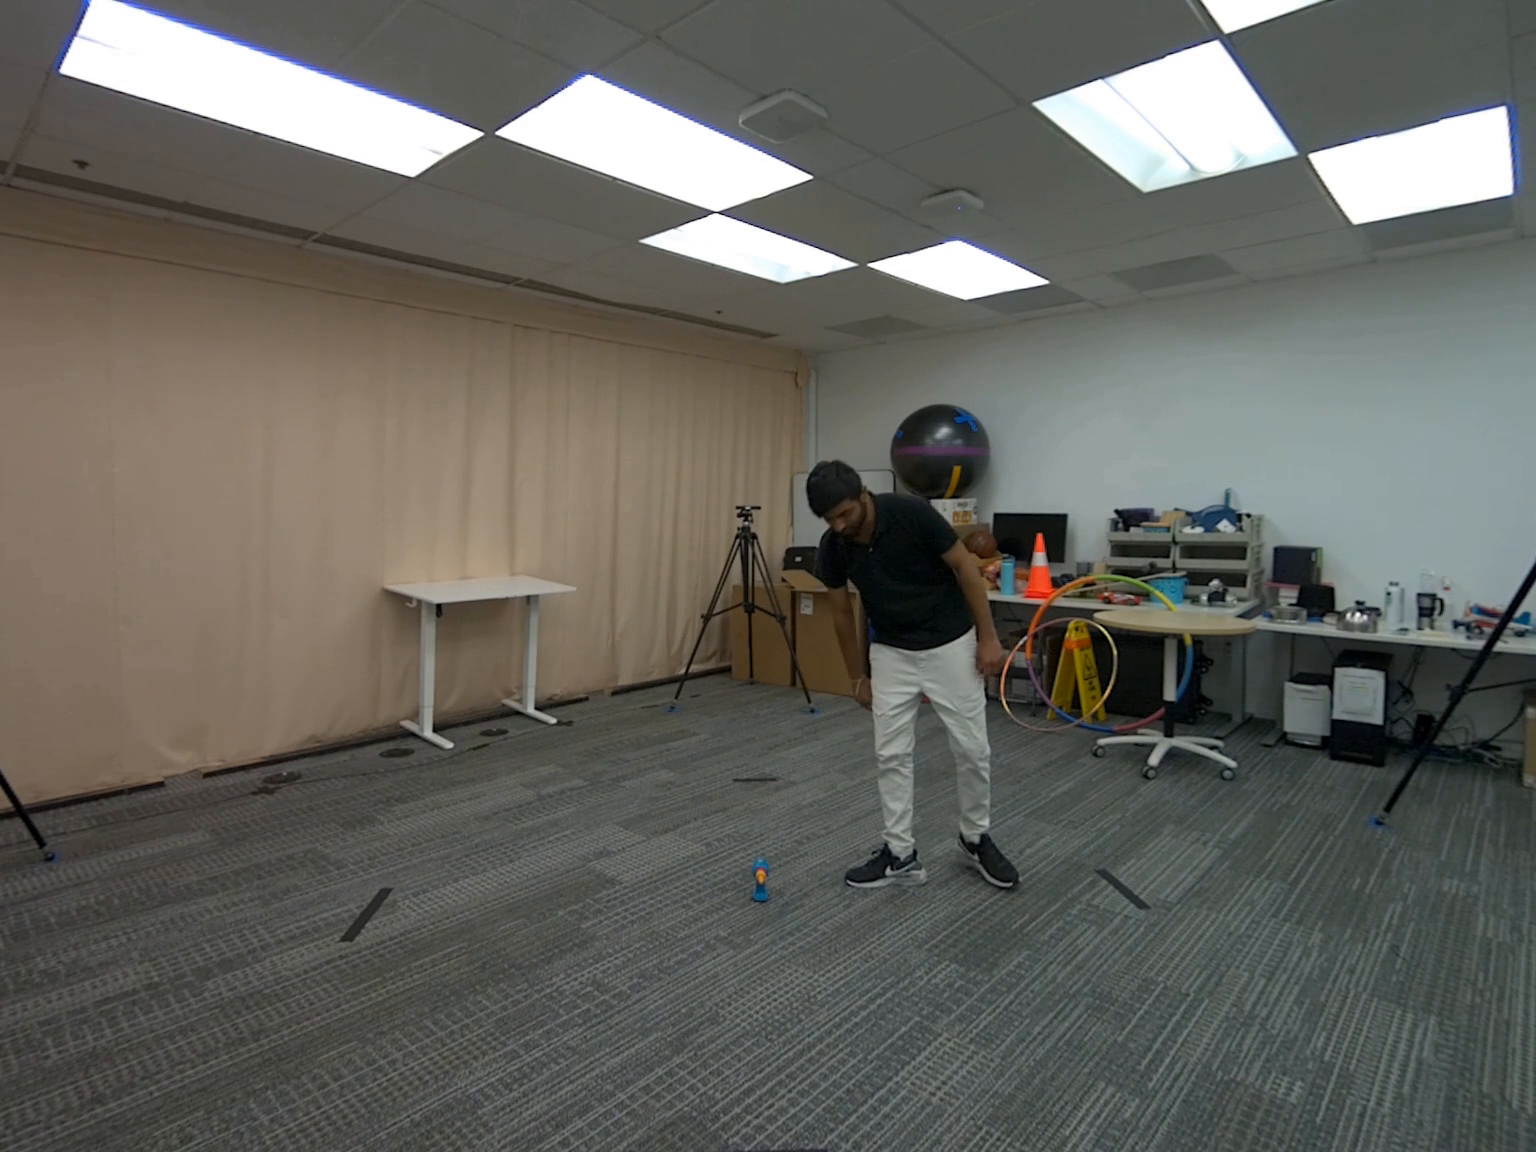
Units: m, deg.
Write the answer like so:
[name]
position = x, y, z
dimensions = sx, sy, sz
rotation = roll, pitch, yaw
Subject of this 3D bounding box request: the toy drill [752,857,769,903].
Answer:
[toy drill]
position = -0.024, 1.067, 2.949
dimensions = 0.061, 0.145, 0.171
rotation = -3, 5, -3
